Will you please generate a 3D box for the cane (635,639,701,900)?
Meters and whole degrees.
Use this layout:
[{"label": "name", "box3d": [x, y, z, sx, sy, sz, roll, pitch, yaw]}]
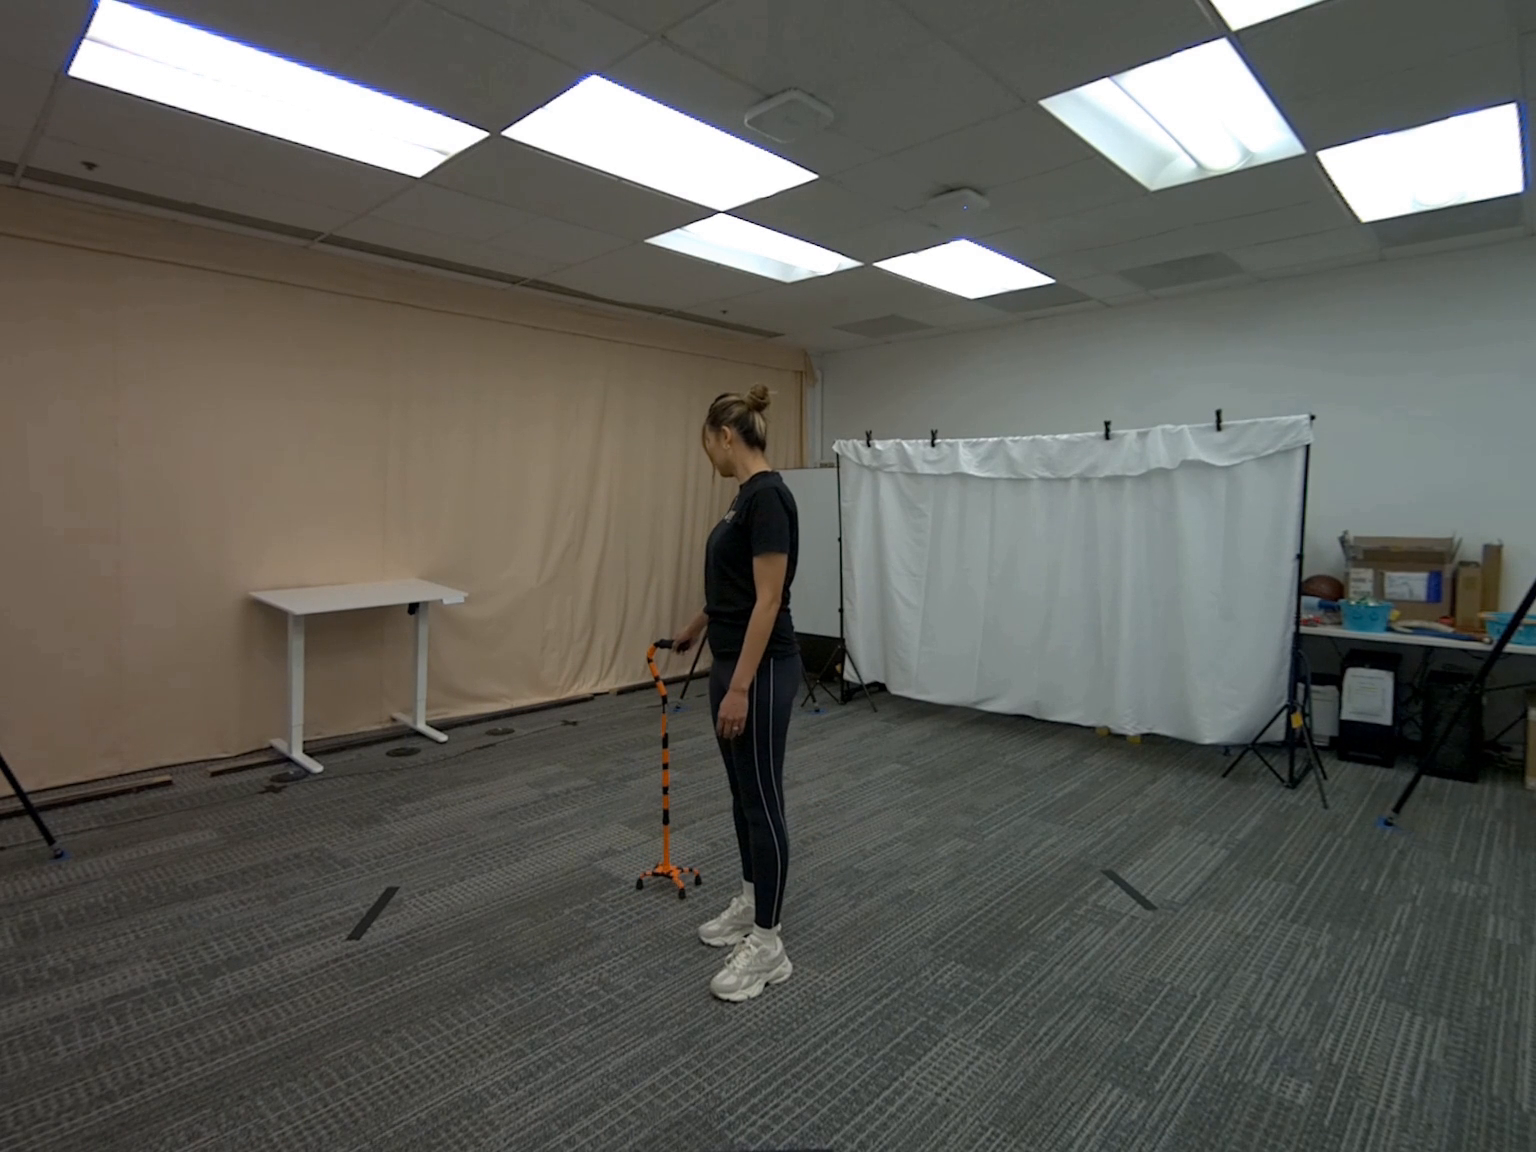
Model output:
[{"label": "cane", "box3d": [-0.366, 0.683, 3.068, 0.211, 0.906, 0.148, 0, 2, 22]}]
